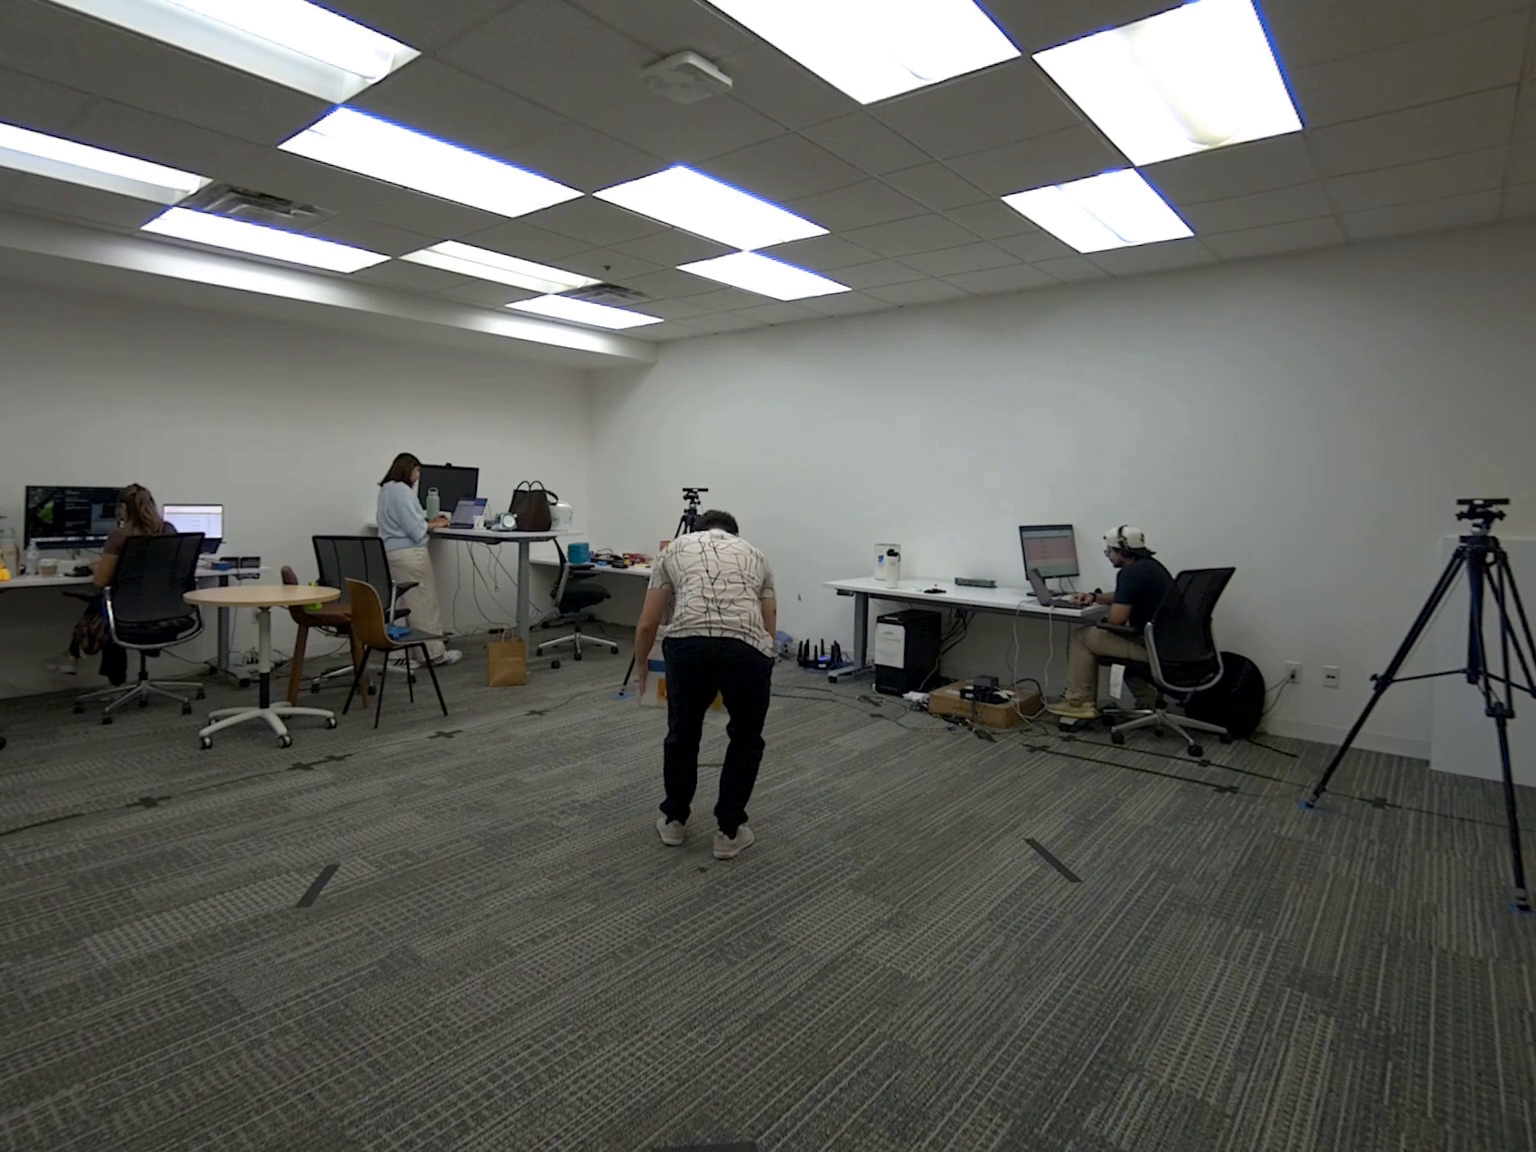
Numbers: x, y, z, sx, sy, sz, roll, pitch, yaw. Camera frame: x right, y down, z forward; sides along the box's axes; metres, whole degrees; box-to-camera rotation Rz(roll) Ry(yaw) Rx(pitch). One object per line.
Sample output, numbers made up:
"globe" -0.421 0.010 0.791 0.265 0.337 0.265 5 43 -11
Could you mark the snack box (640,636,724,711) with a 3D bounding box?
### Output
"snack box" -0.358 0.409 3.731 0.400 0.345 0.206 6 -15 -12
